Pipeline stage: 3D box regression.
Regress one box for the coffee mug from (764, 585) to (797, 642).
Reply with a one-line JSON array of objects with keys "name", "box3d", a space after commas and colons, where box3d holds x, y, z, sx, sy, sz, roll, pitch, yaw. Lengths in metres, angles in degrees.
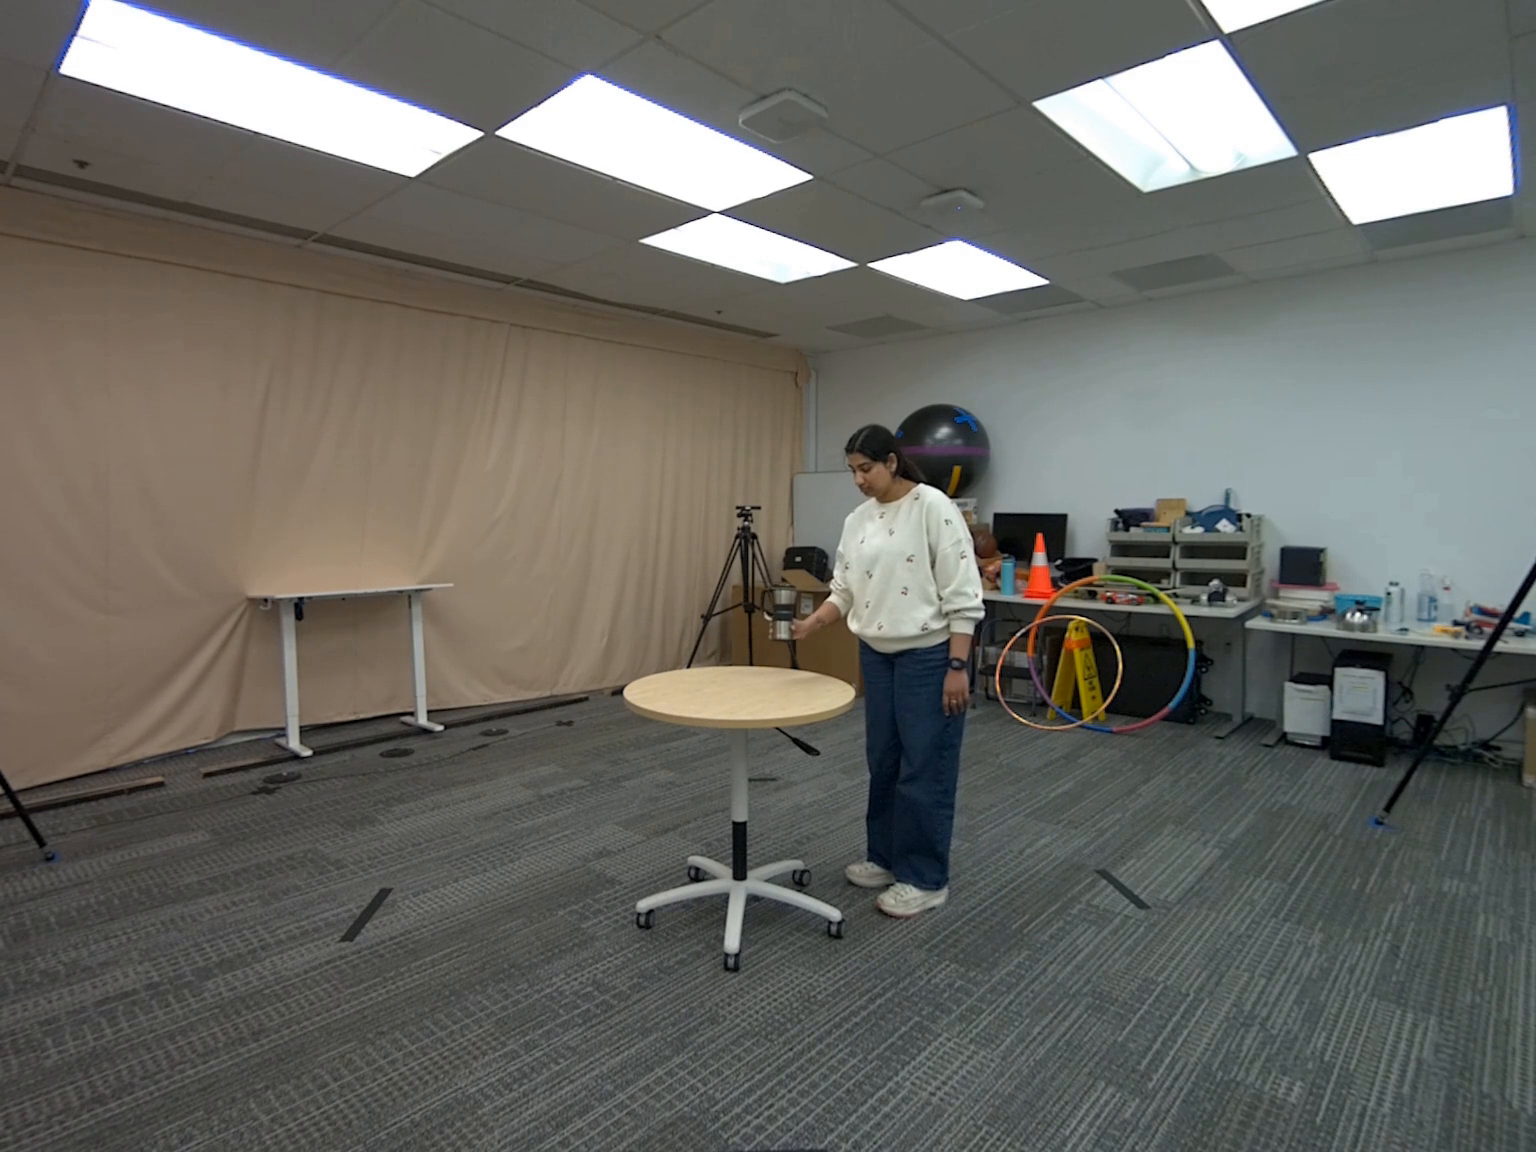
[{"name": "coffee mug", "box3d": [0.044, 0.132, 2.951, 0.125, 0.203, 0.085, 3, 0, 28]}]
